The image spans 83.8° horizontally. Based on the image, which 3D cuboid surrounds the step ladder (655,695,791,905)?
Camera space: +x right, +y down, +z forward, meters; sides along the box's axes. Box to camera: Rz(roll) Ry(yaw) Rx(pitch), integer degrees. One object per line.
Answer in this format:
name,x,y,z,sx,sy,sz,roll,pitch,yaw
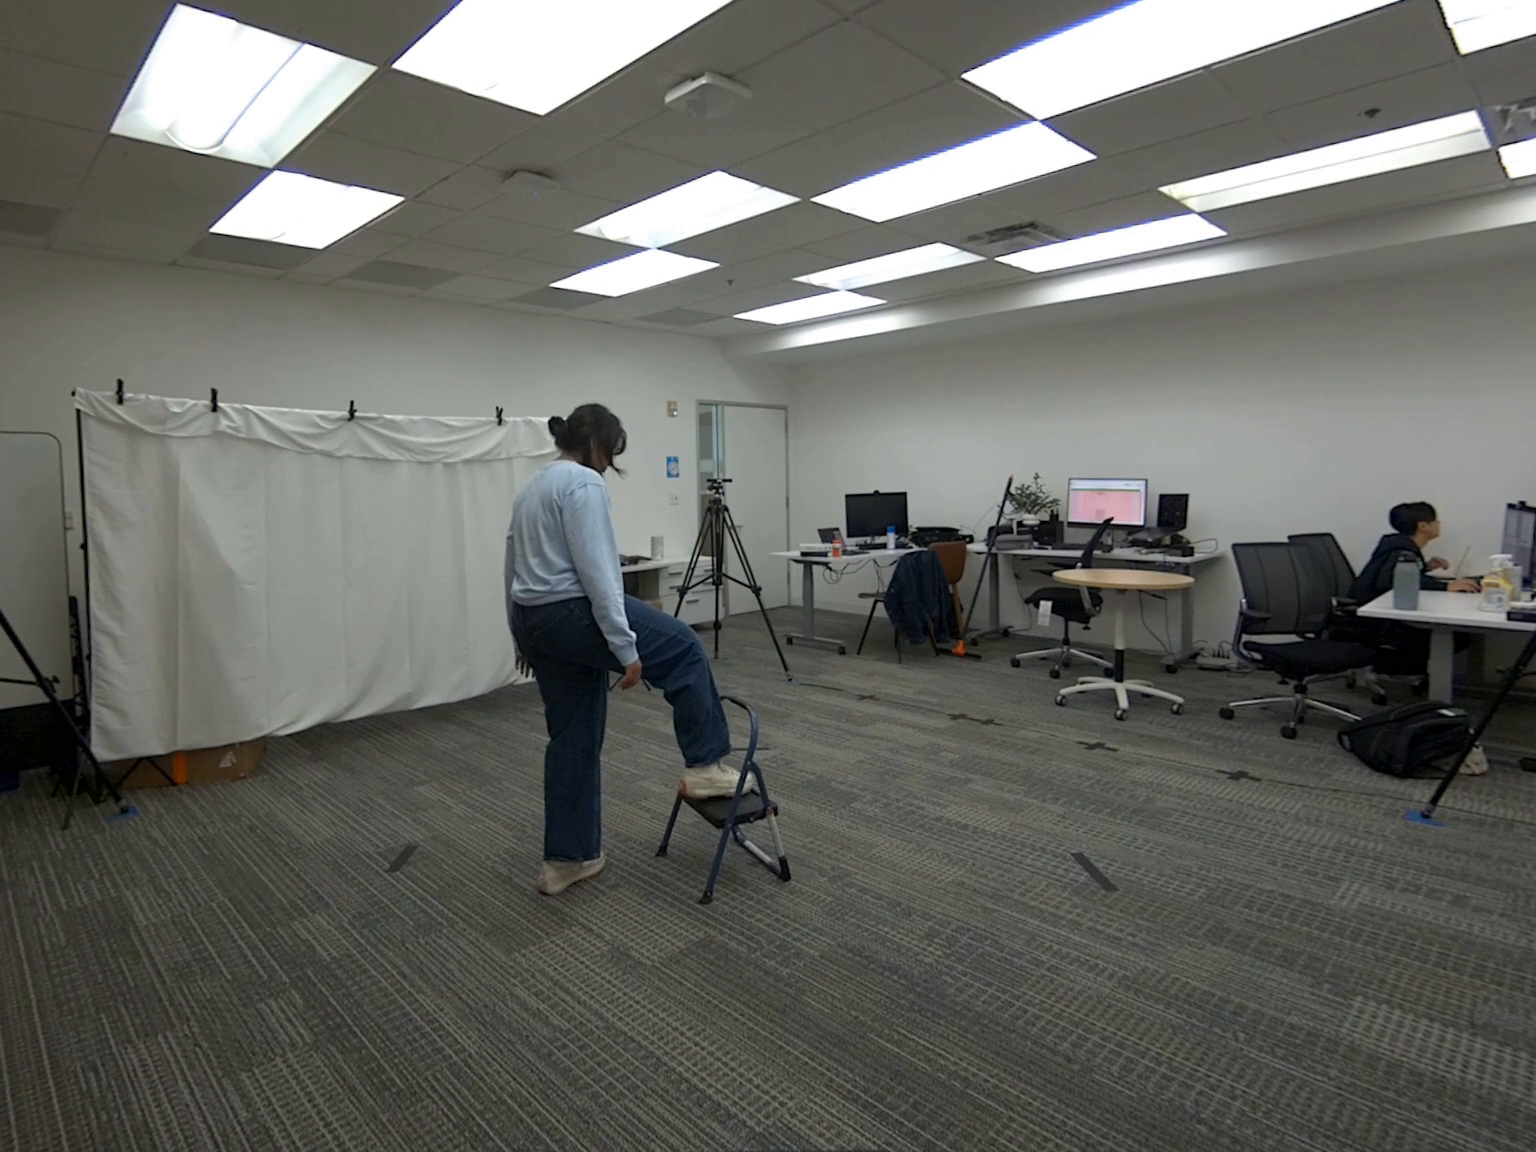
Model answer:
step ladder,-0.170,0.752,3.061,0.341,0.604,0.442,-3,5,-28
